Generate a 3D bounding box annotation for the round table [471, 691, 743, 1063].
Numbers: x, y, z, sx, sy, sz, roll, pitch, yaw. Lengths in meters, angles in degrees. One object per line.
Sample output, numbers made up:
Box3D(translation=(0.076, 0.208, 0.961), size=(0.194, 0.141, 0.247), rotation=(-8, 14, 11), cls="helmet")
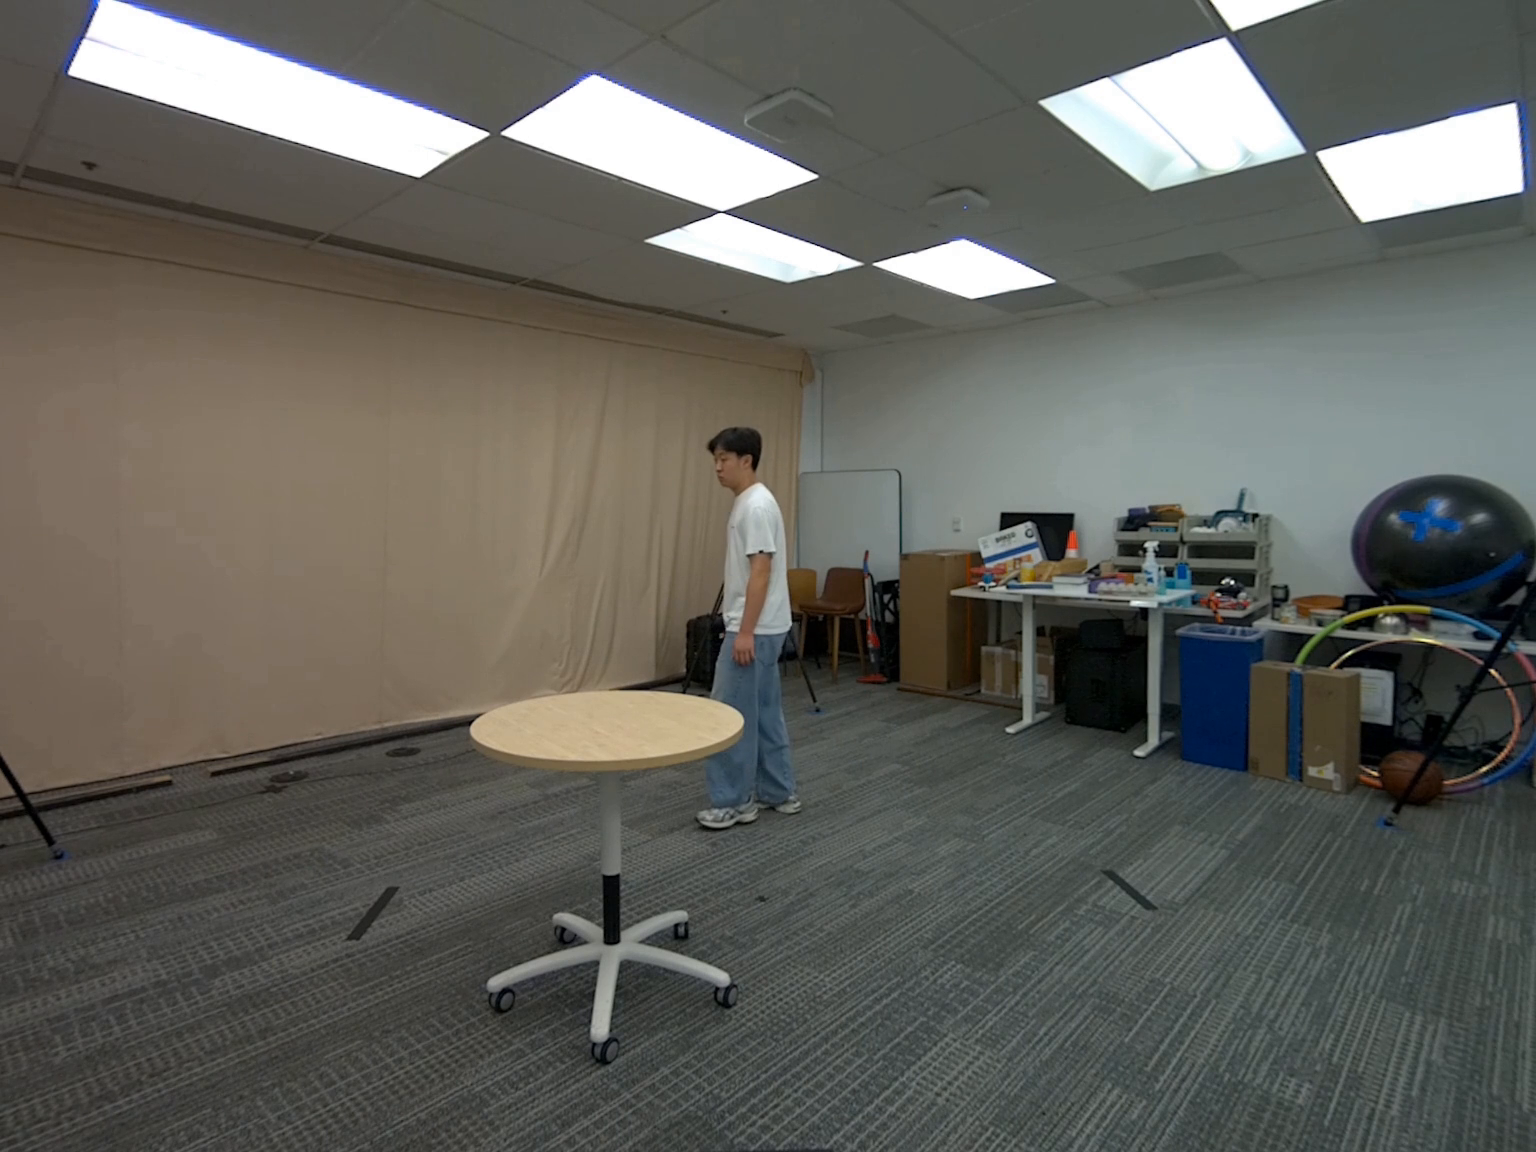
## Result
Box3D(translation=(-0.446, 0.808, 2.409), size=(0.763, 0.792, 0.766), rotation=(0, 4, -2), cls="round table")
